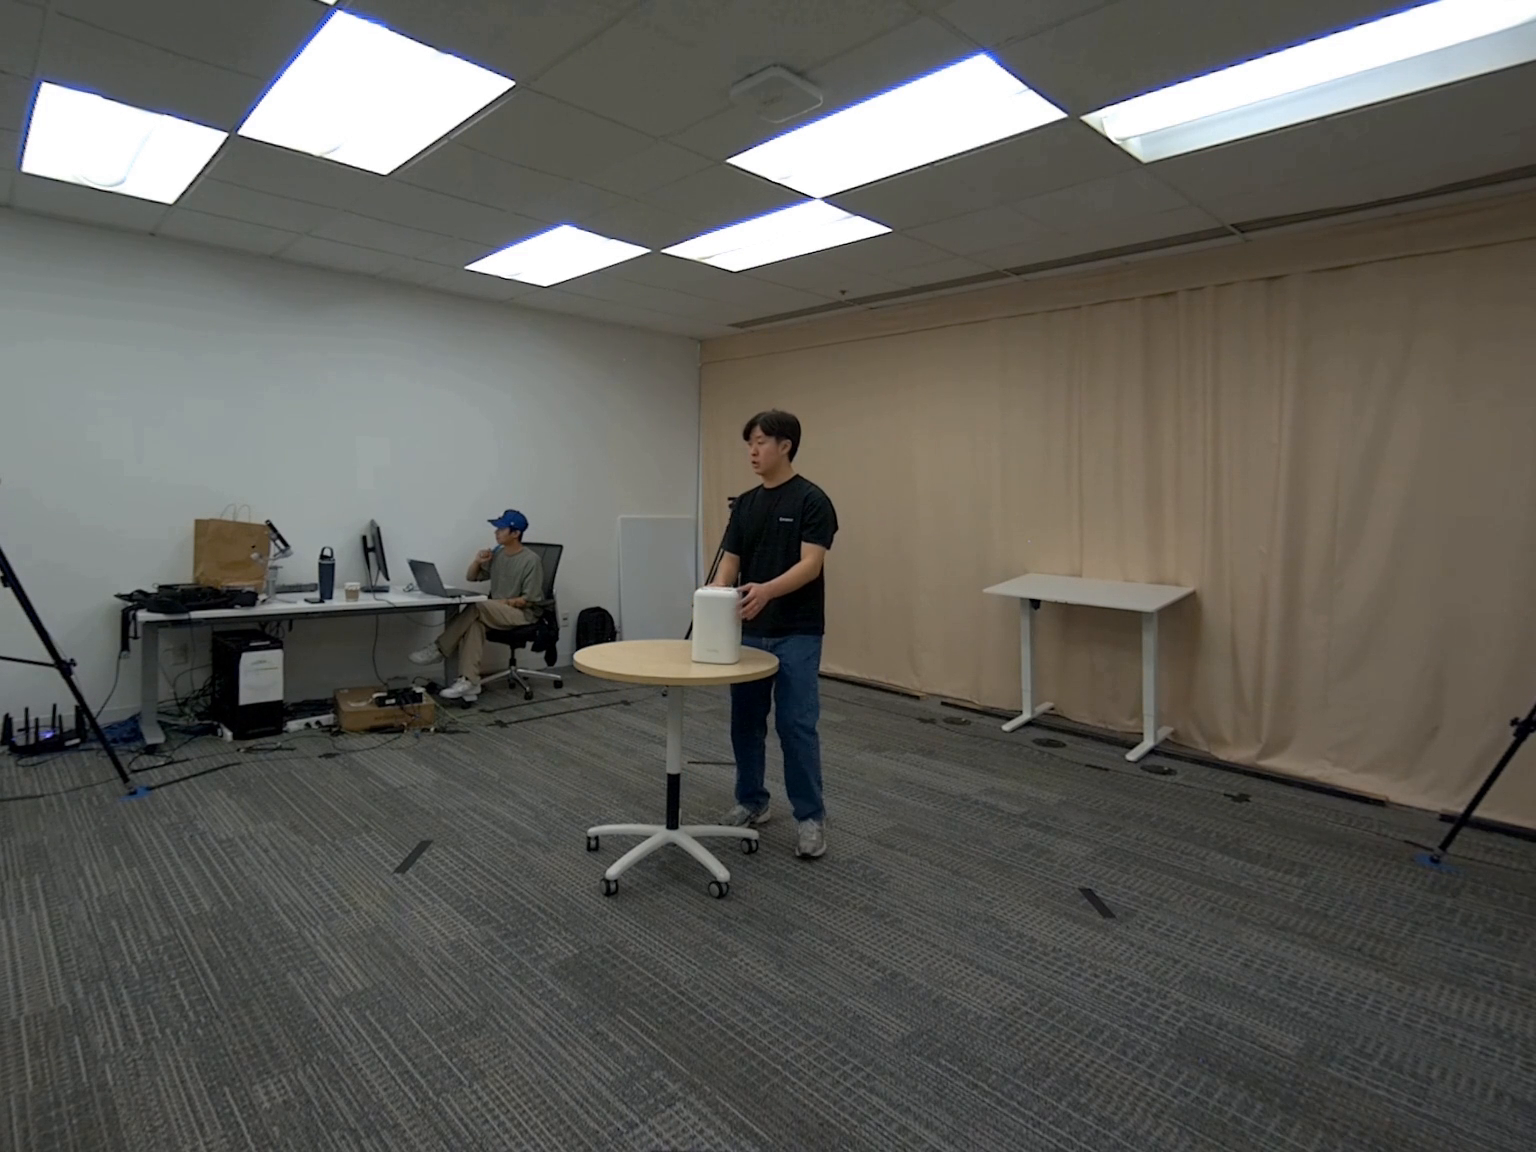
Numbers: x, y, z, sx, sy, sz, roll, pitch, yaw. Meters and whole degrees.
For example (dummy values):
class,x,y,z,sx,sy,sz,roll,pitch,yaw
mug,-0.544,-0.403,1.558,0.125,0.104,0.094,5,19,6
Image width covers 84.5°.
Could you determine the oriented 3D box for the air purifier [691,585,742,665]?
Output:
class,x,y,z,sx,sy,sz,roll,pitch,yaw
air purifier,-0.197,0.181,3.102,0.172,0.265,0.171,3,4,8
